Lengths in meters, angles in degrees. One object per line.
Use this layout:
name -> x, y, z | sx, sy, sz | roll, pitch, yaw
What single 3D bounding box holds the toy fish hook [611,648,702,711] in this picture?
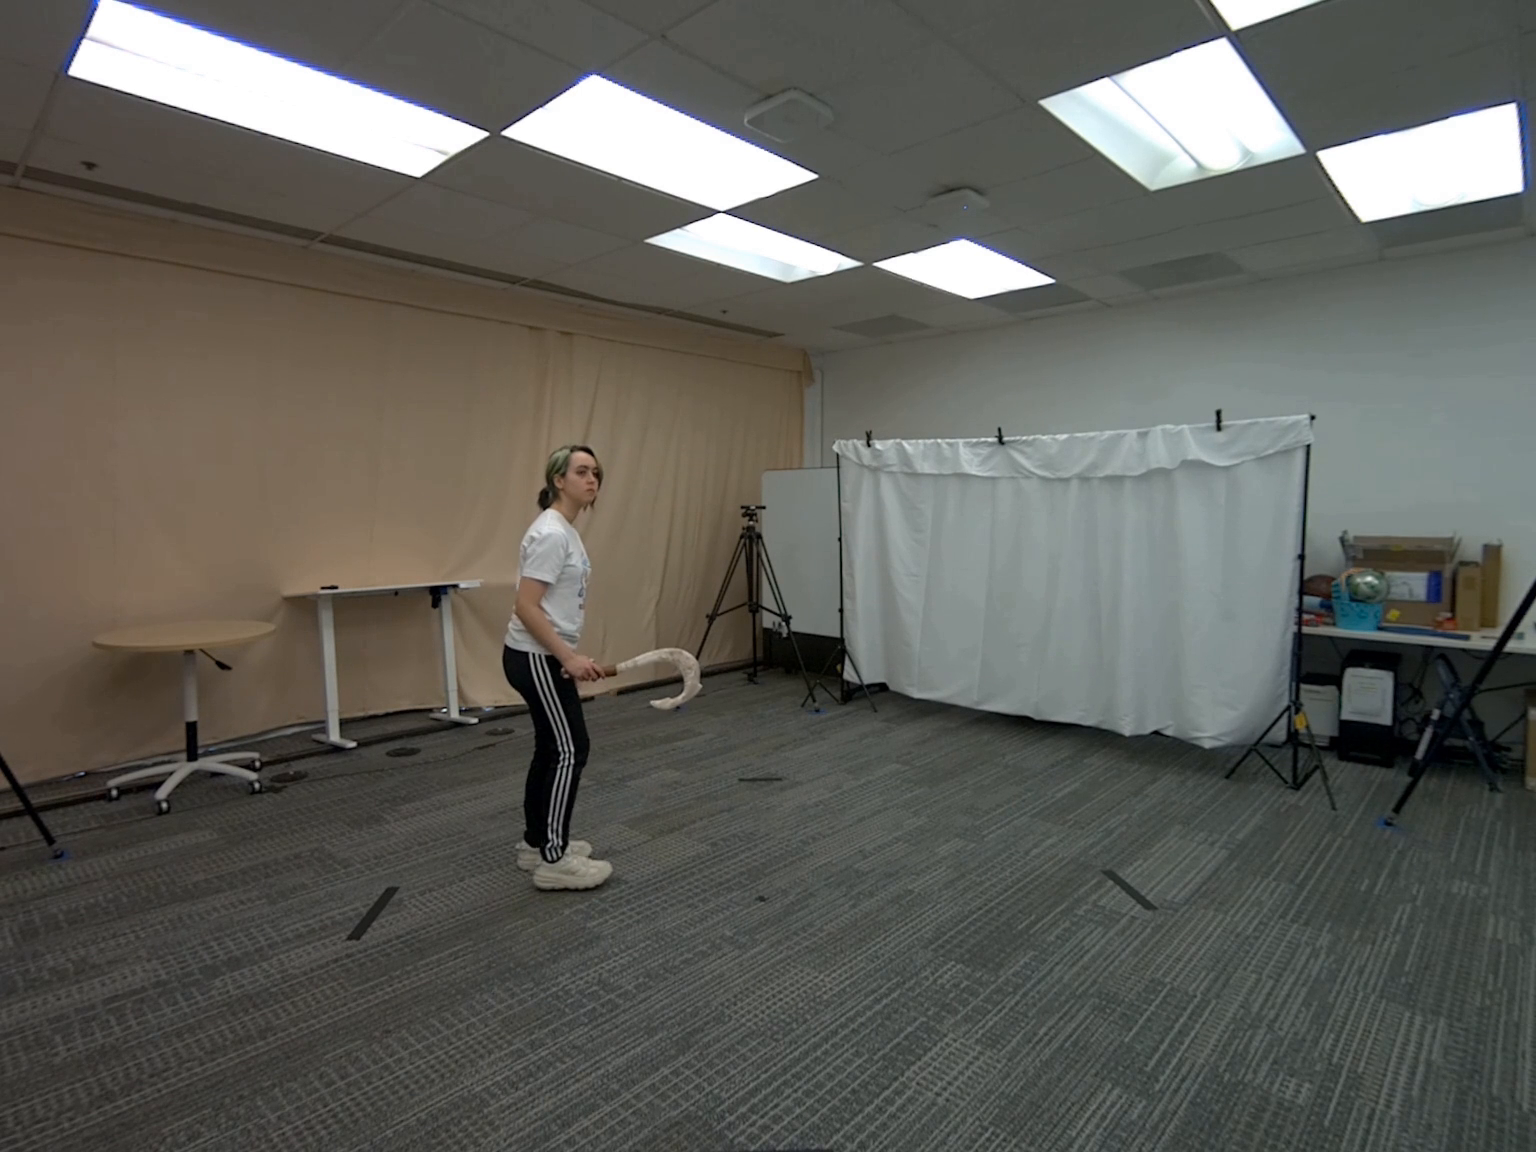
toy fish hook -> -0.486, 0.383, 3.045 | 0.501, 0.229, 0.048 | -4, -26, -10
